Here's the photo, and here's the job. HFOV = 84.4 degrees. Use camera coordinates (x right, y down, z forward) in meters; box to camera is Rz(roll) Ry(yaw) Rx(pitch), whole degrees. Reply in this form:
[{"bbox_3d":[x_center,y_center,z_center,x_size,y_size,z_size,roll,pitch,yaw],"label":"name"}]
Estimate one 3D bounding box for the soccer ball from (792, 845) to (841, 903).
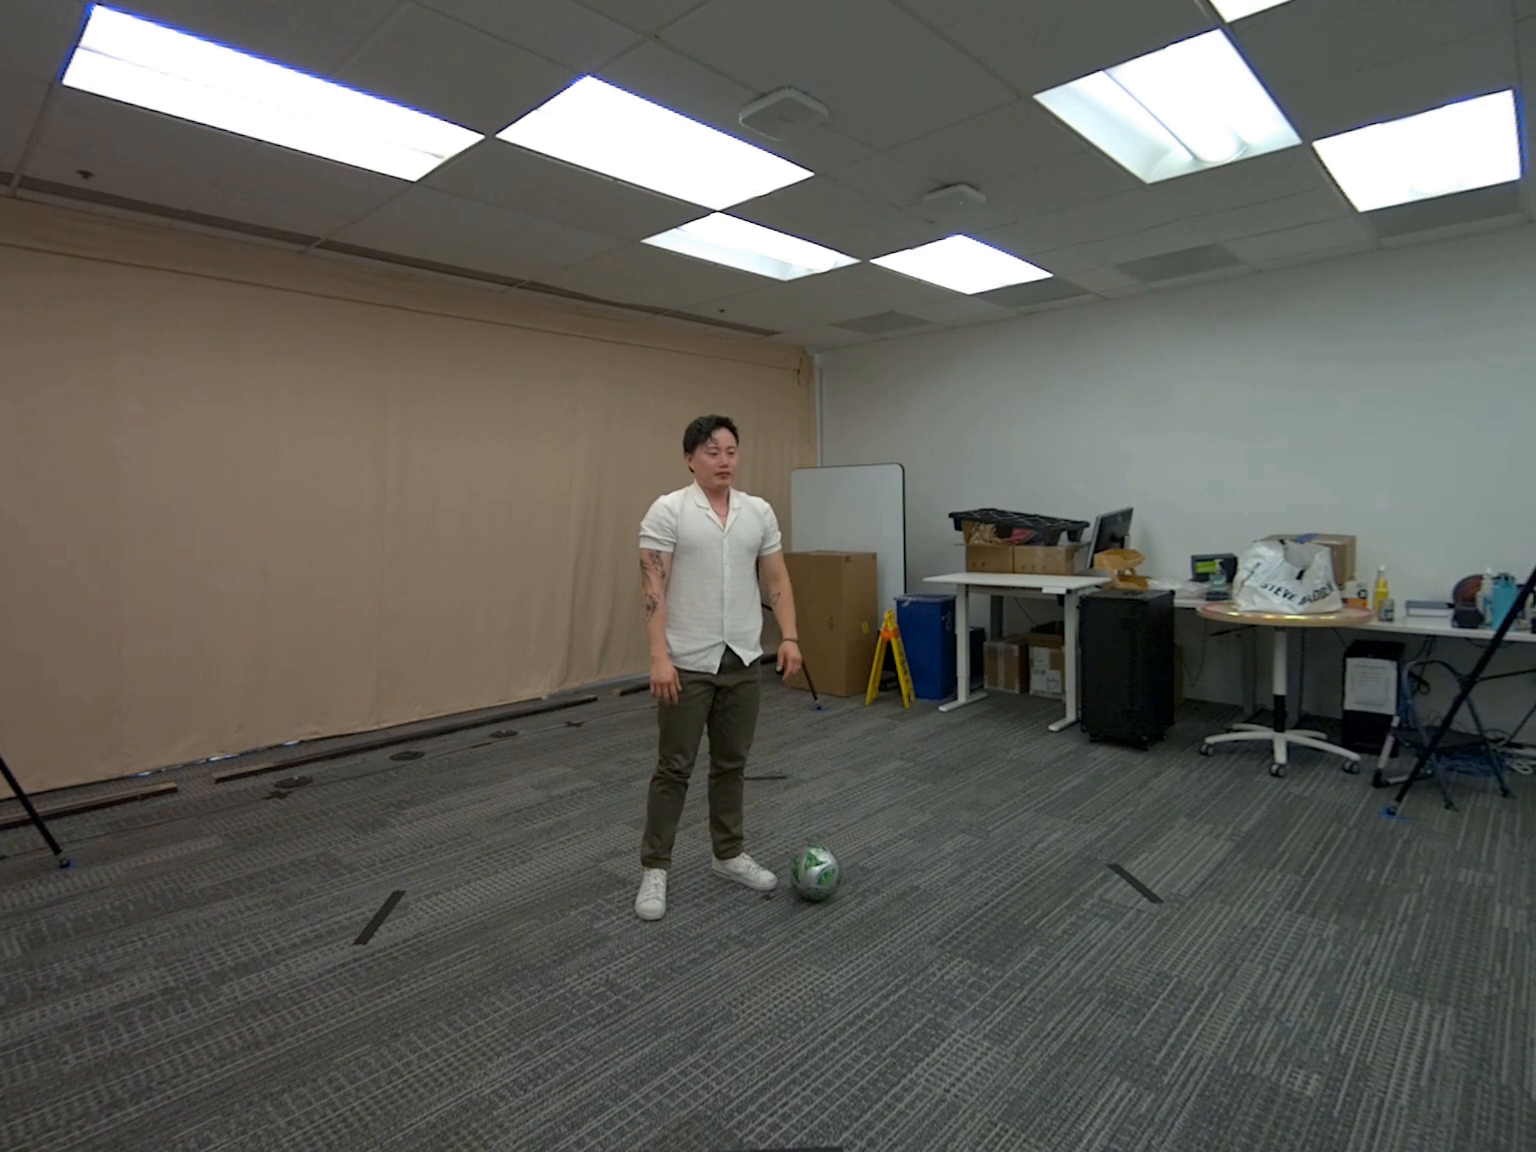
[{"bbox_3d":[0.167,1.047,2.972,0.187,0.187,0.188,-1,4,-2],"label":"soccer ball"}]
